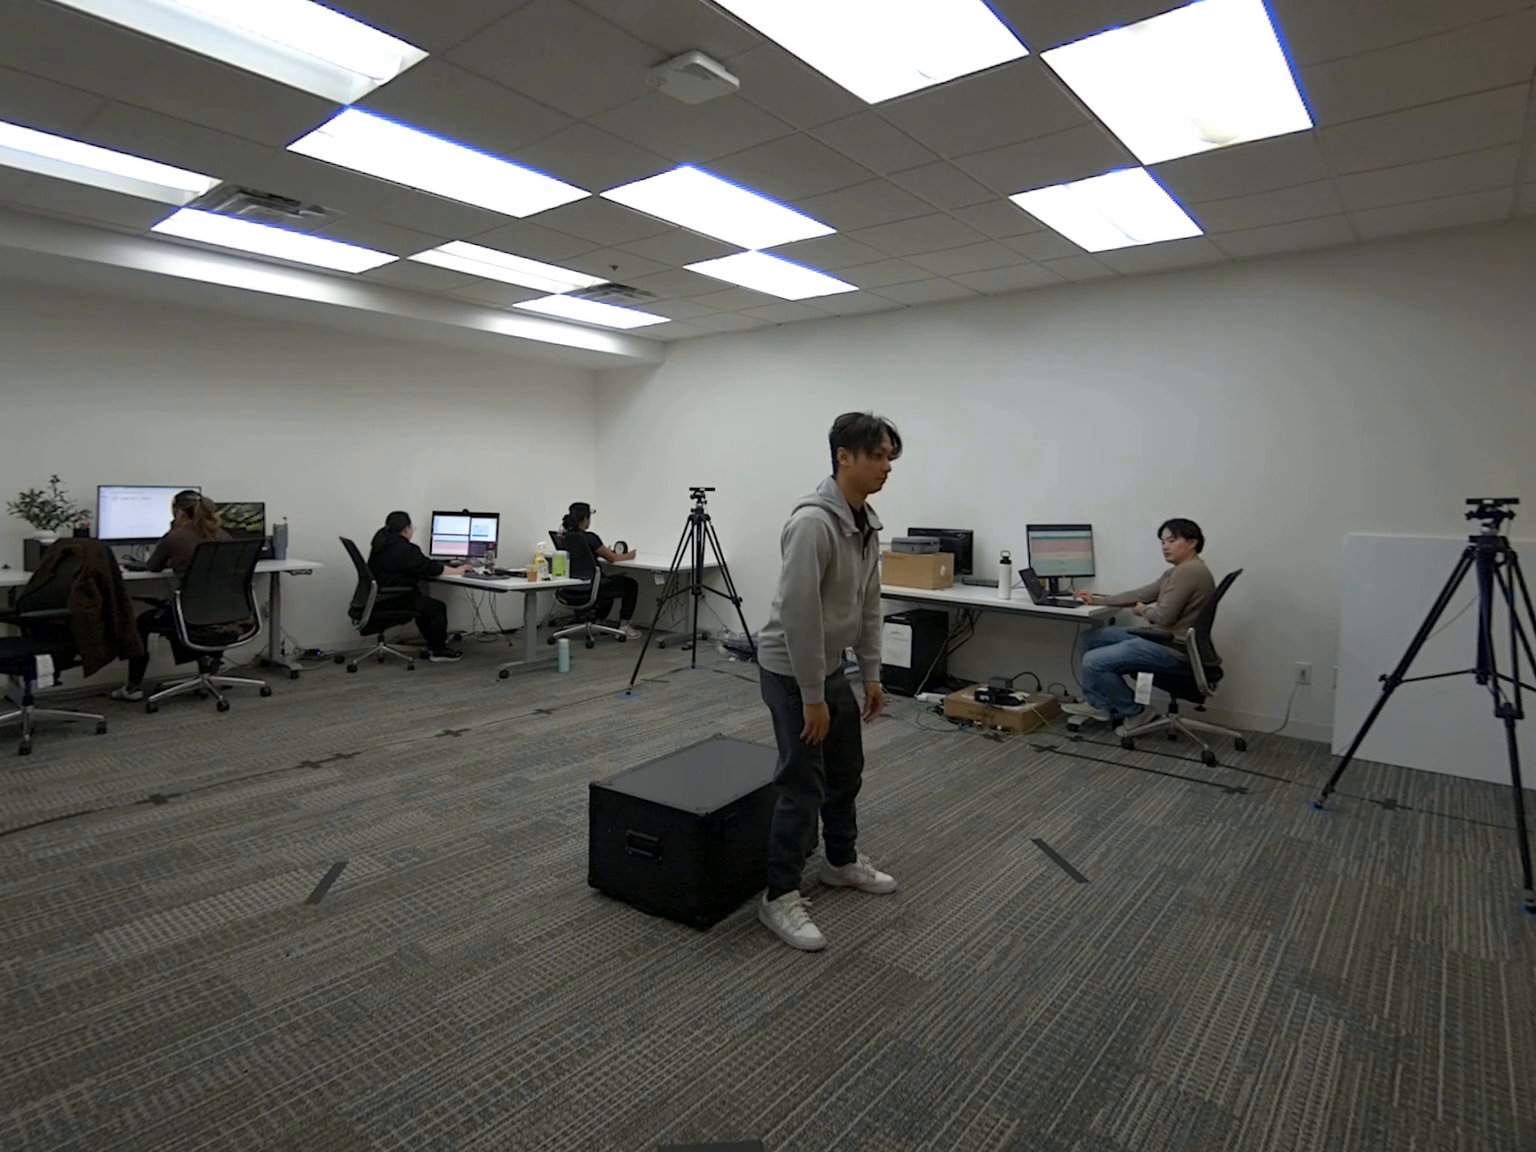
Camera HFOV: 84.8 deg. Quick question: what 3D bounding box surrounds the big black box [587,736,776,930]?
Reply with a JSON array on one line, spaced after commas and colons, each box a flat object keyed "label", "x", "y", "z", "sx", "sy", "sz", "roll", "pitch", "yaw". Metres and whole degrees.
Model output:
[{"label": "big black box", "x": -0.239, "y": 0.883, "z": 3.059, "sx": 0.537, "sy": 0.395, "sz": 0.838, "roll": 4, "pitch": 5, "yaw": 32}]
